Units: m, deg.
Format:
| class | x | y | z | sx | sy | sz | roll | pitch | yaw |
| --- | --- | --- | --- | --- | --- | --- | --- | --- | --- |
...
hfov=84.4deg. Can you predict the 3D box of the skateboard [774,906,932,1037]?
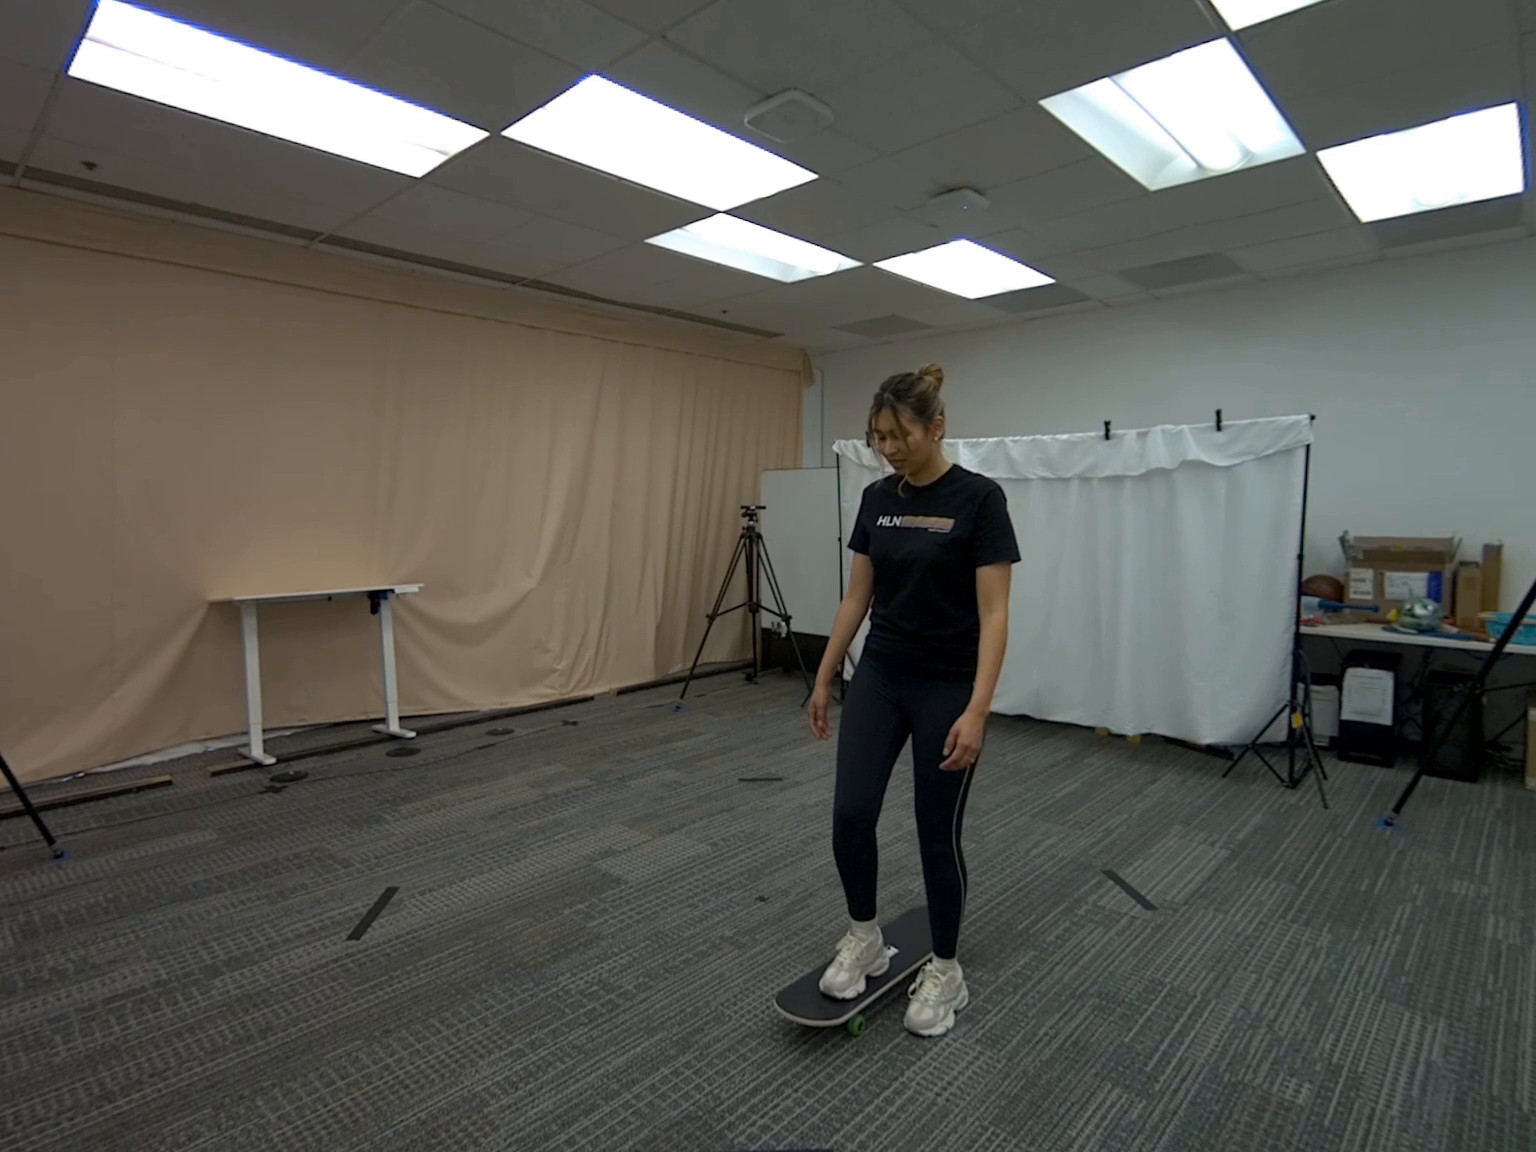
| class | x | y | z | sx | sy | sz | roll | pitch | yaw |
| --- | --- | --- | --- | --- | --- | --- | --- | --- | --- |
| skateboard | 0.311 | 1.143 | 2.412 | 0.200 | 0.110 | 0.761 | 3 | 6 | 43 |
